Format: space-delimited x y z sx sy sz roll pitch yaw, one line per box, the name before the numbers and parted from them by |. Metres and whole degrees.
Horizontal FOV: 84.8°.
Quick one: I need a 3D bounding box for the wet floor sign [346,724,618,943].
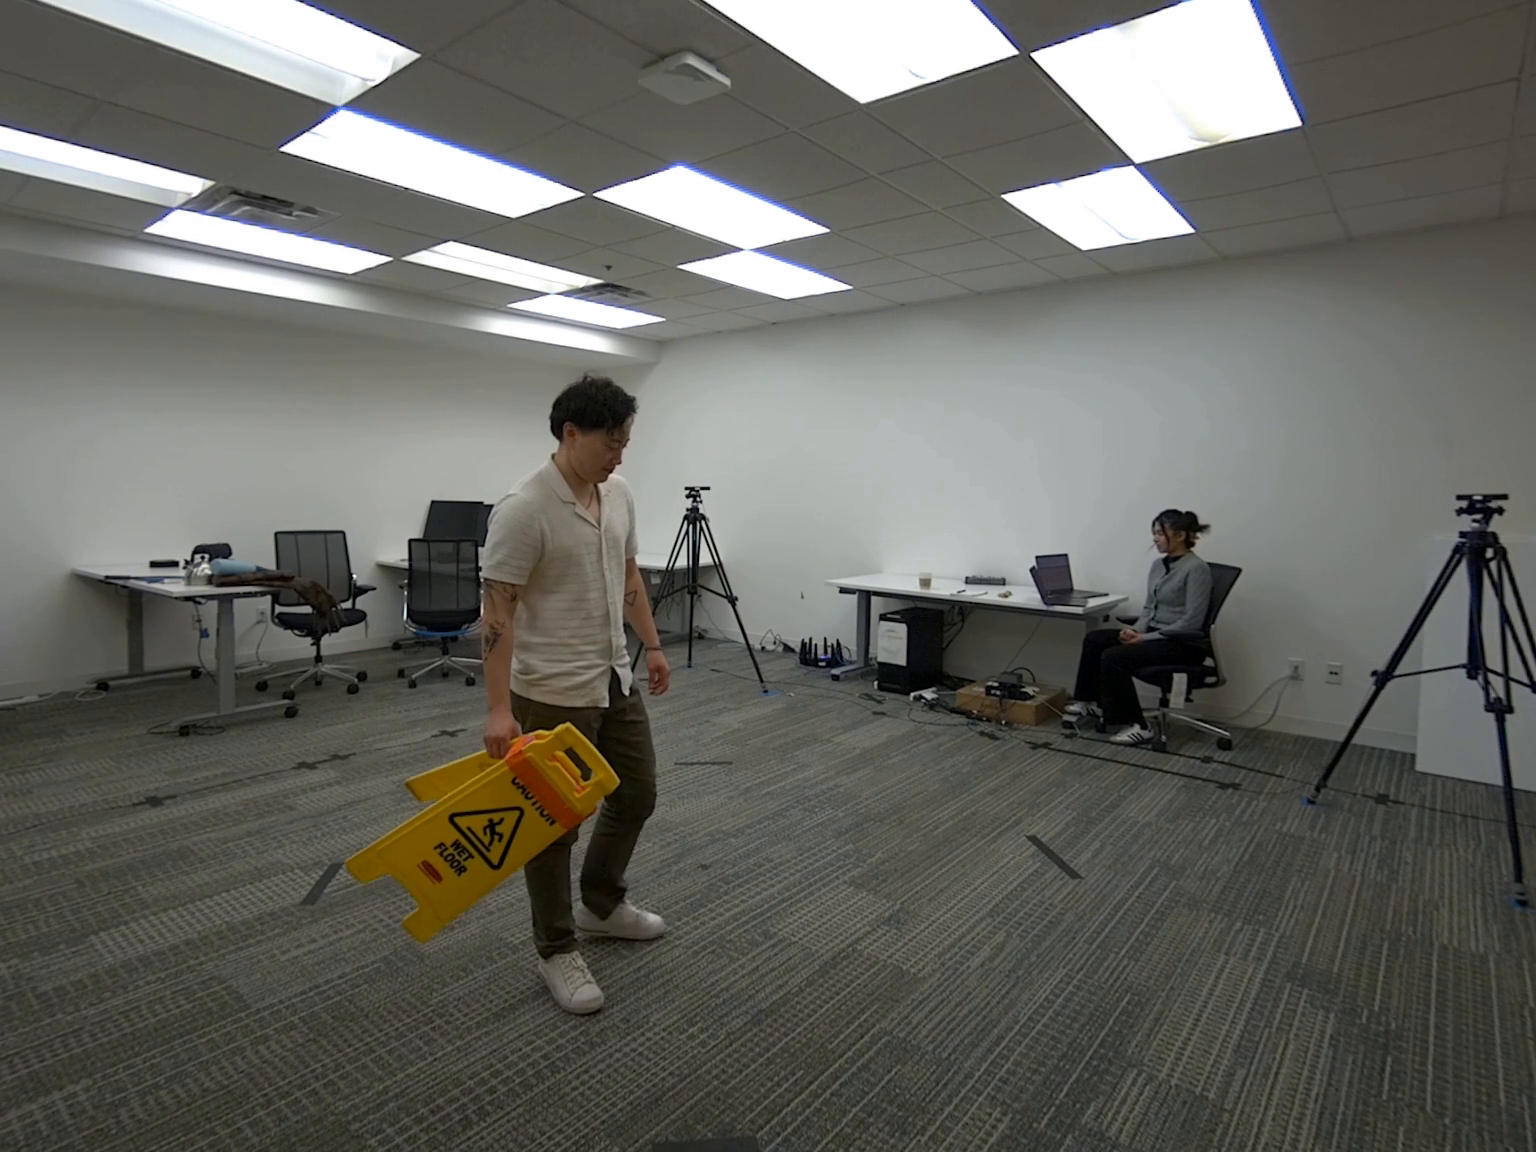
wet floor sign | -0.667 0.566 2.071 0.651 0.277 0.293 -31 15 19
